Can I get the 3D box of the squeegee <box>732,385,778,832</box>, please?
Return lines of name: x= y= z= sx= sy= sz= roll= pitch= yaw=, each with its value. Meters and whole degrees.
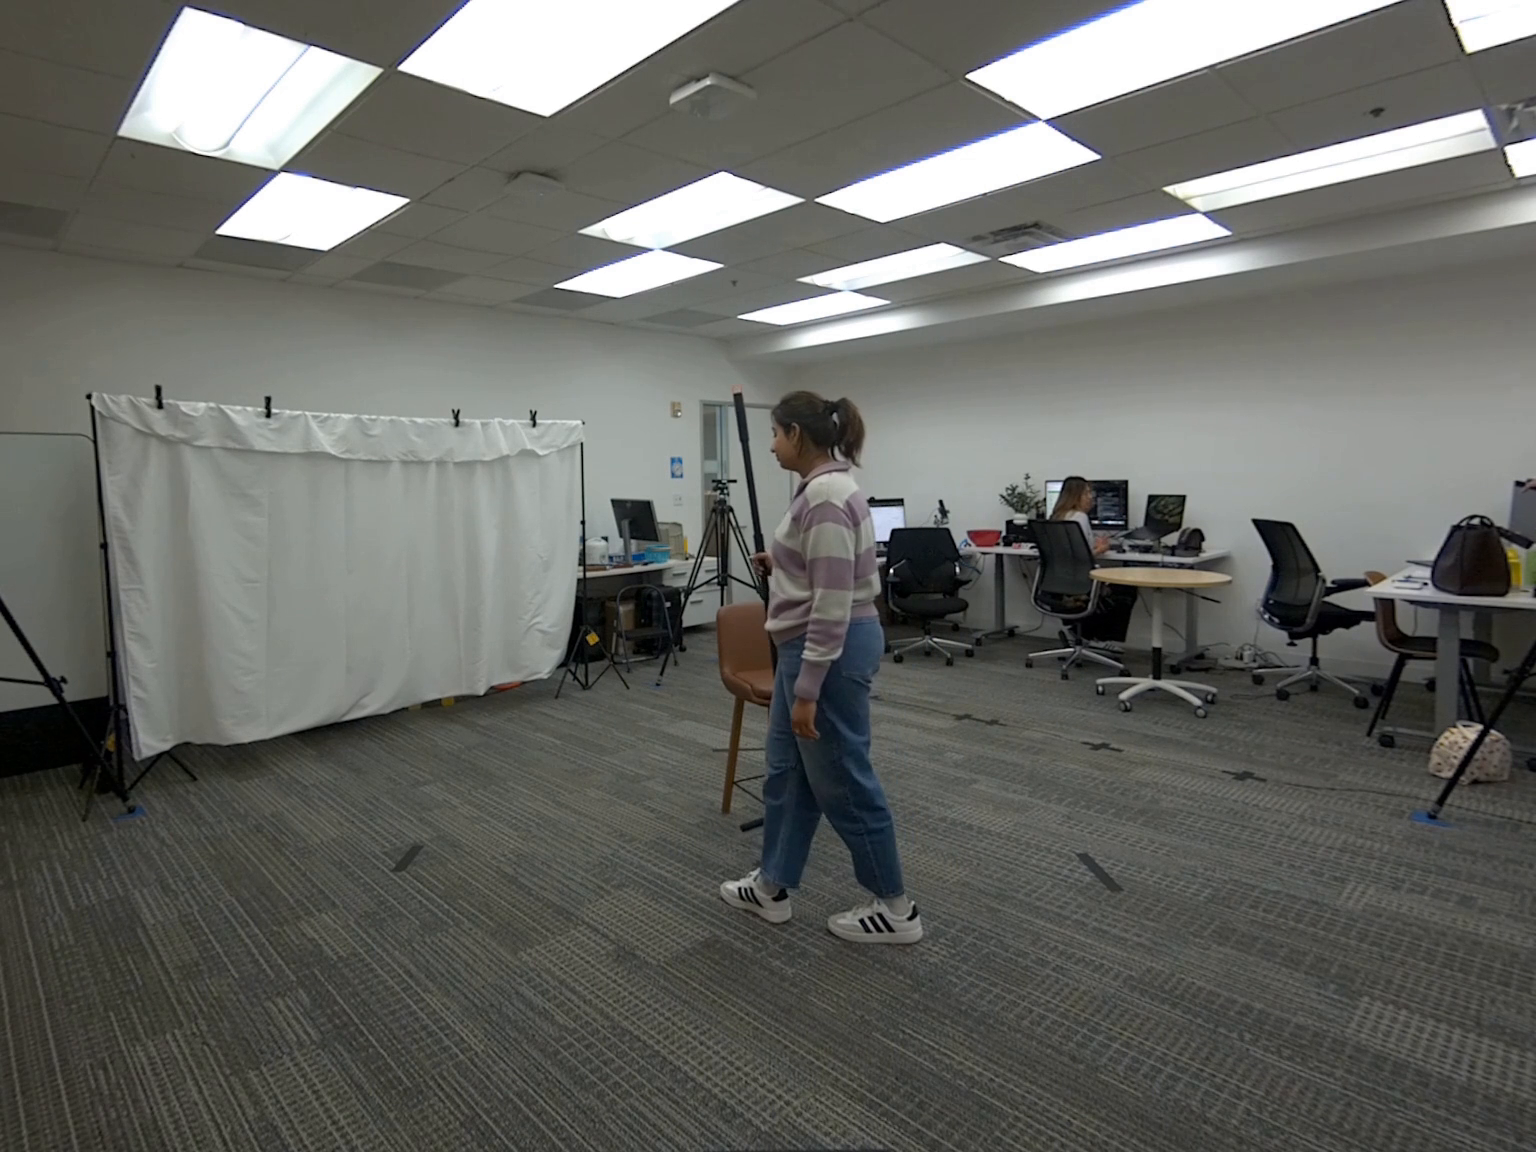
squeegee: x=0.007 y=0.120 z=2.952 sx=0.430 sy=1.522 sz=0.054 roll=-11 pitch=10 yaw=-21
